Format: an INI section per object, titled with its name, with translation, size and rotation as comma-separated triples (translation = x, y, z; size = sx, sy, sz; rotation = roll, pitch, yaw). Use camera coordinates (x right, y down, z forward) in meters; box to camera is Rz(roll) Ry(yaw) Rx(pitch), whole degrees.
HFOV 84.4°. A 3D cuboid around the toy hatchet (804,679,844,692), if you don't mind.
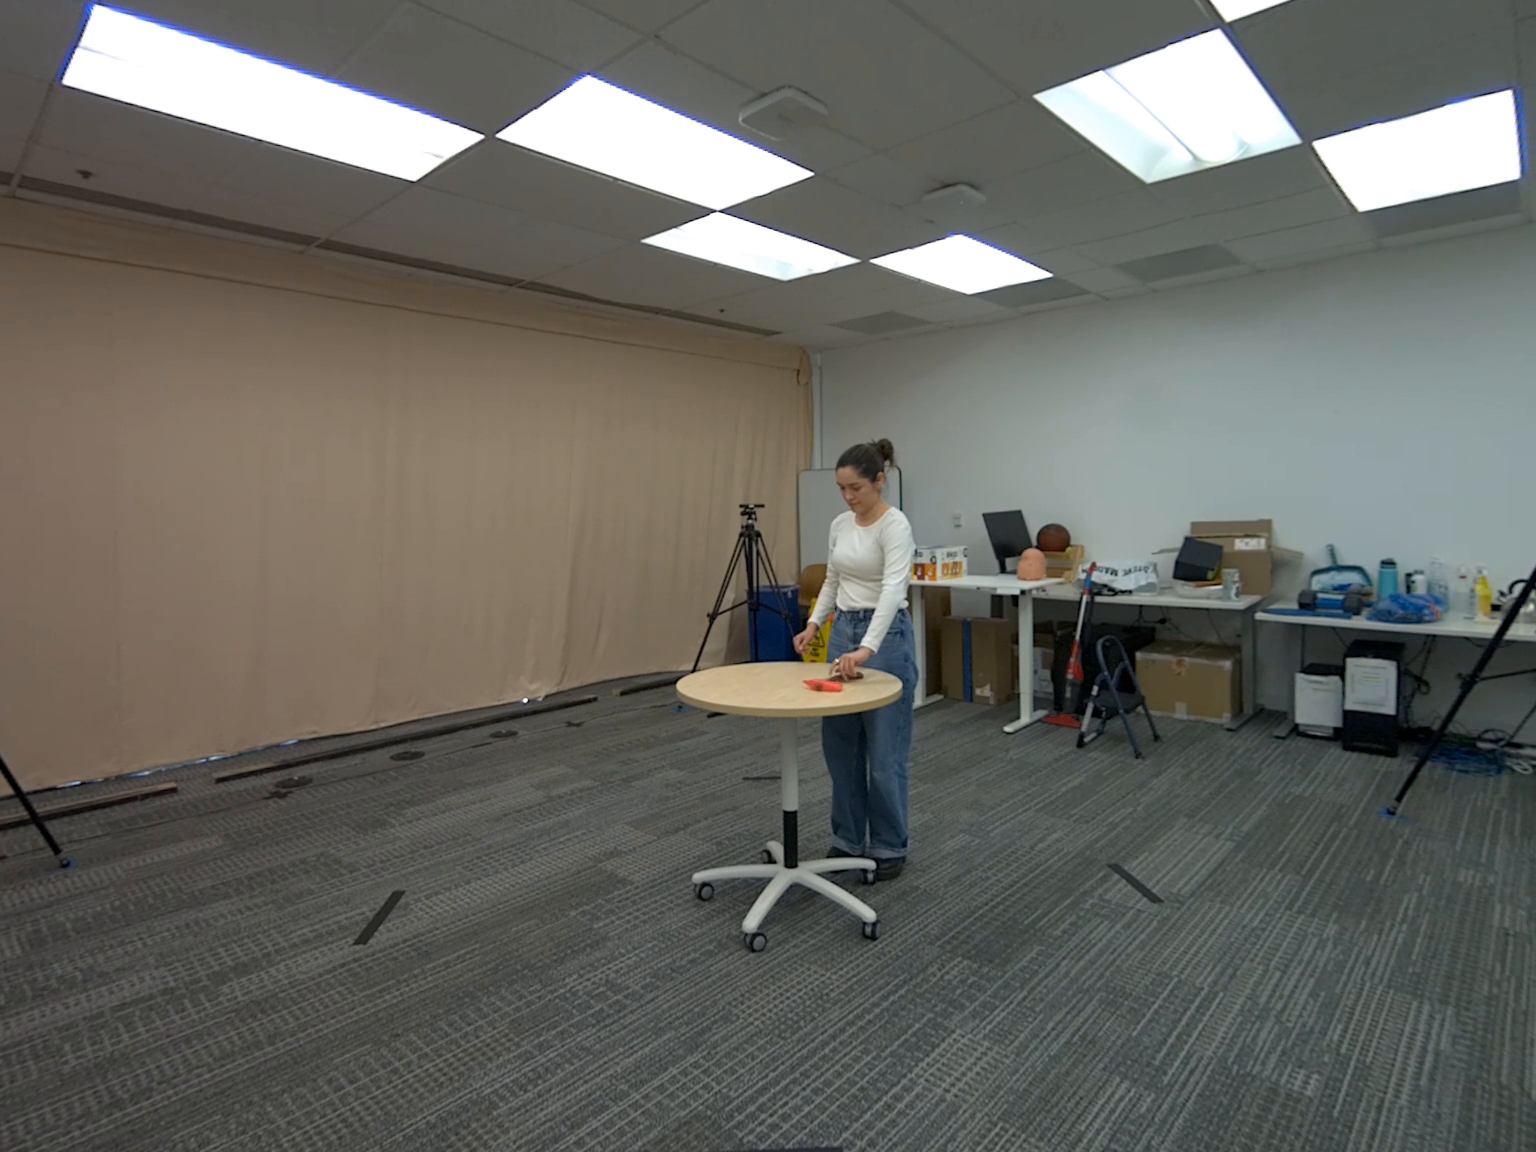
[toy hatchet]
translation = 0.258, 0.352, 2.818
size = 0.262, 0.029, 0.135
rotation = -3, 8, -41
